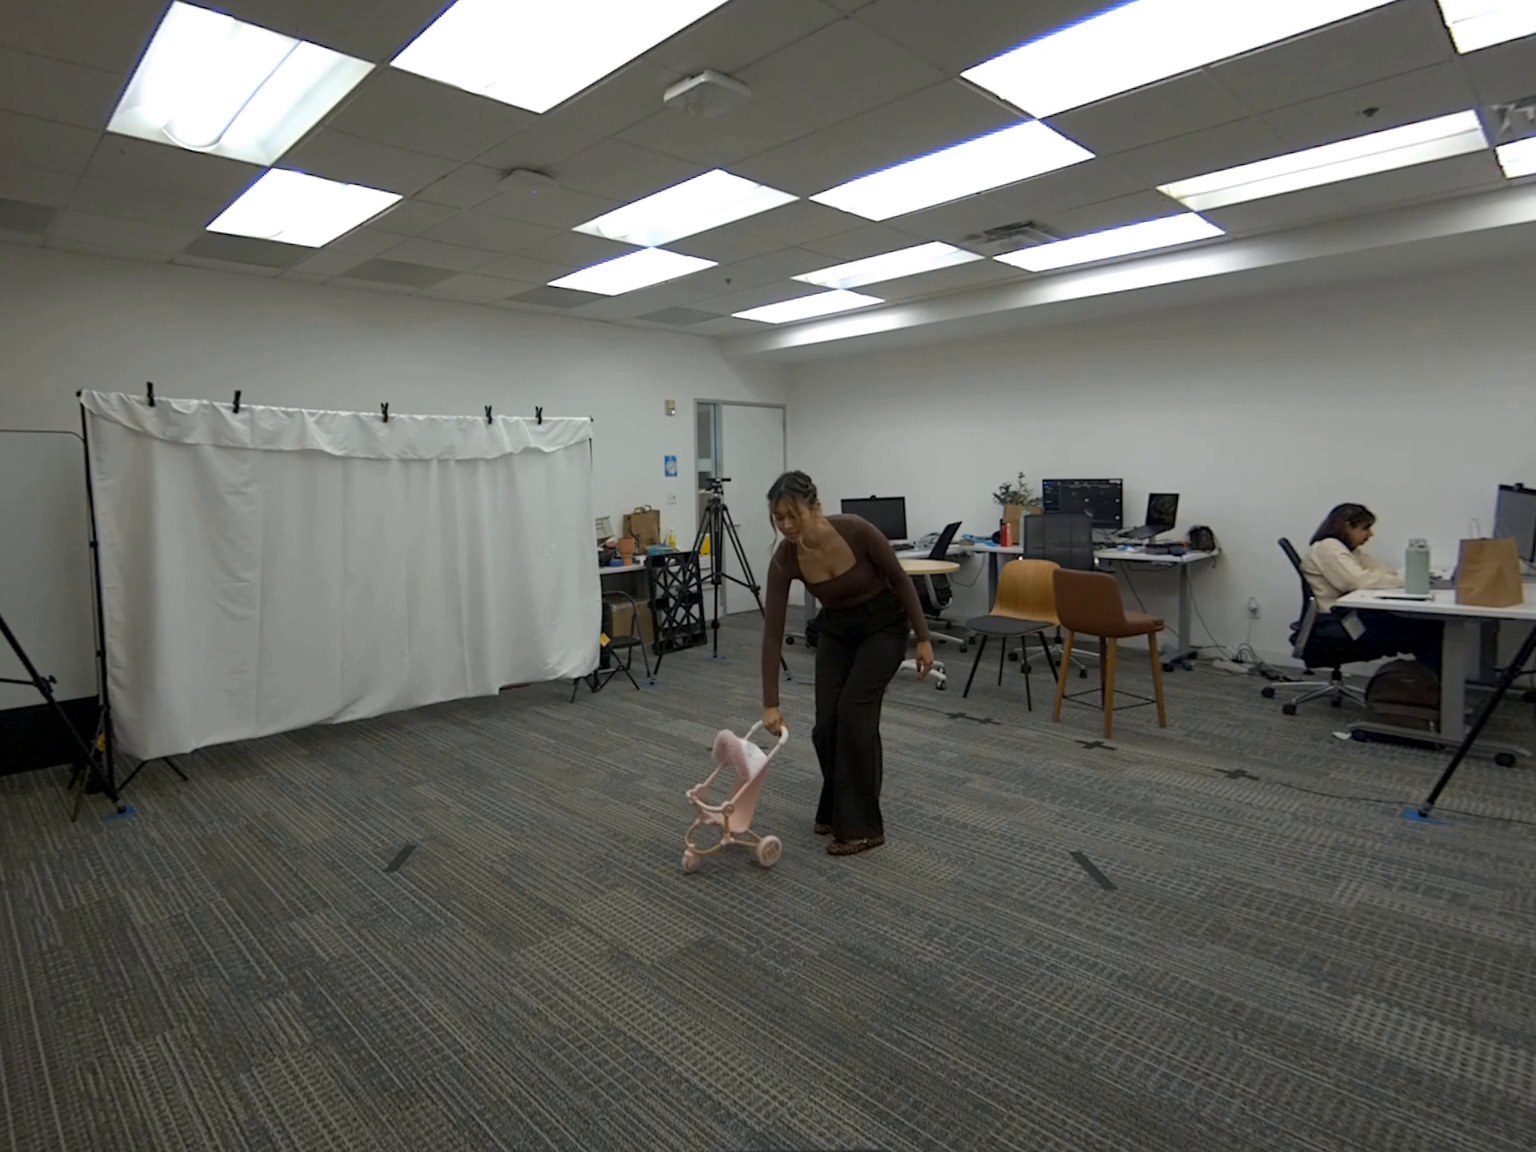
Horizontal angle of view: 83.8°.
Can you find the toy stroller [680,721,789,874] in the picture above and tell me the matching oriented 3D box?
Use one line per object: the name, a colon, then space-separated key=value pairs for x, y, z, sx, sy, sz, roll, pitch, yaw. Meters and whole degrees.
toy stroller: x=-0.135 y=0.798 z=3.101 sx=0.332 sy=0.534 sz=0.289 roll=8 pitch=2 yaw=-28
